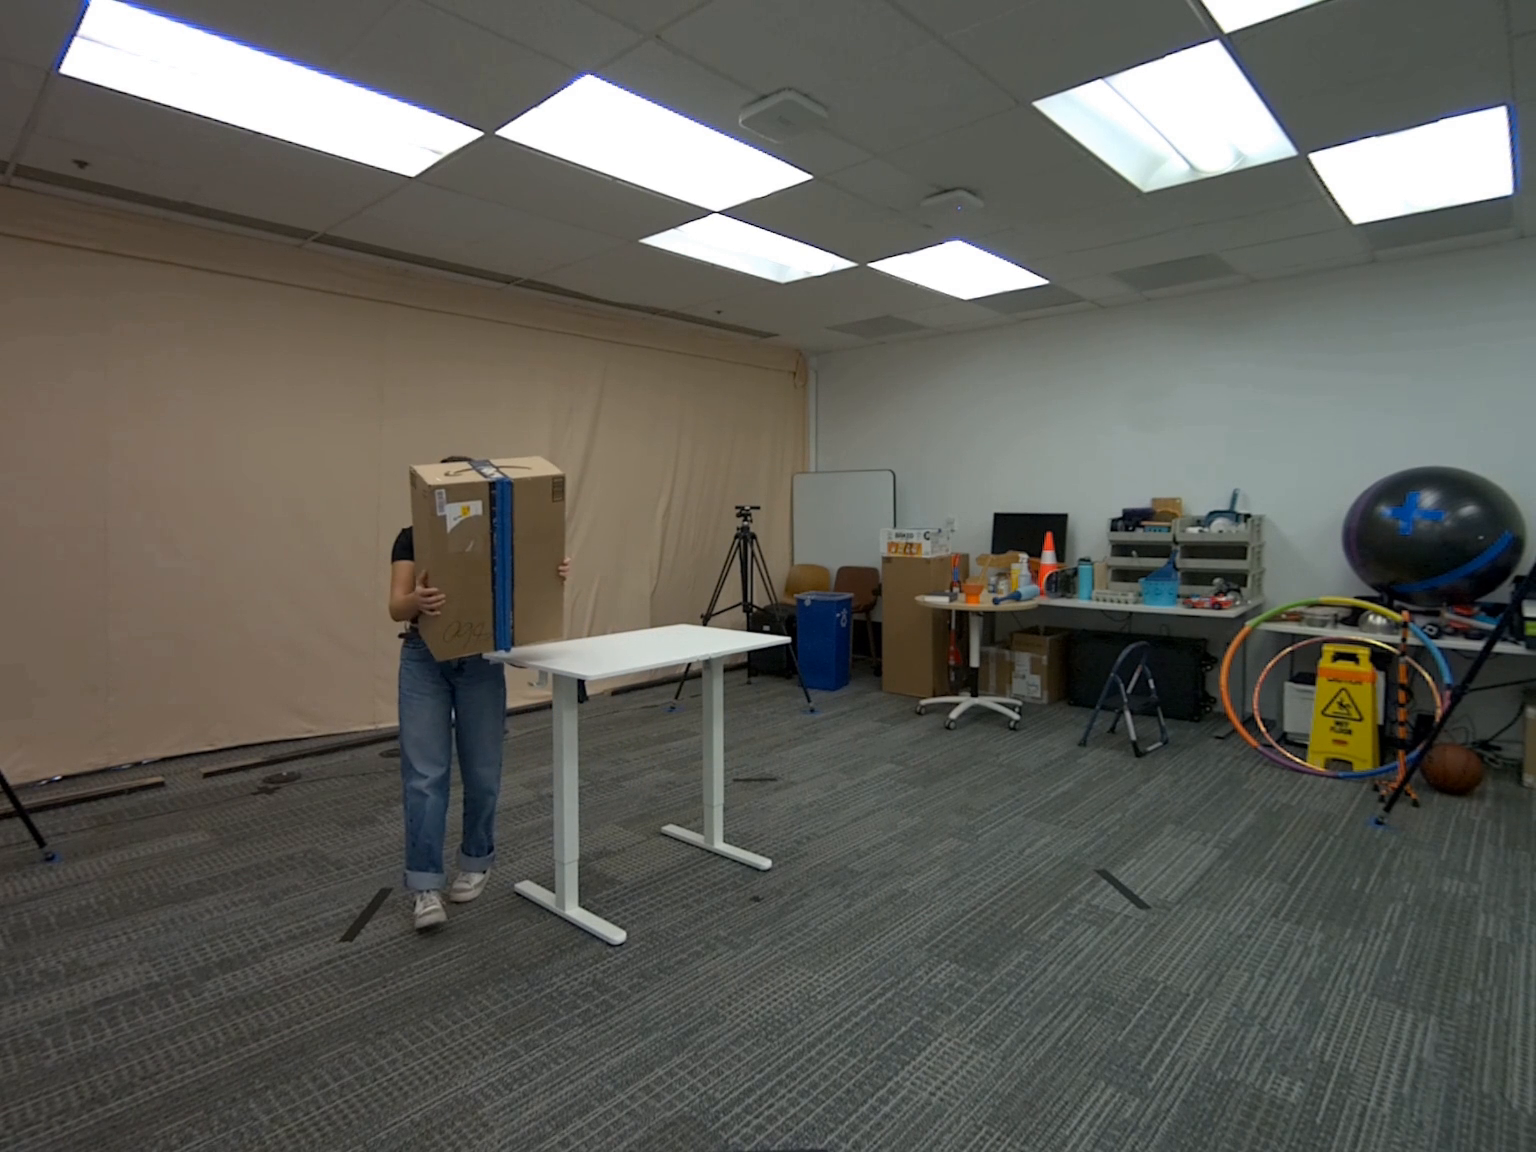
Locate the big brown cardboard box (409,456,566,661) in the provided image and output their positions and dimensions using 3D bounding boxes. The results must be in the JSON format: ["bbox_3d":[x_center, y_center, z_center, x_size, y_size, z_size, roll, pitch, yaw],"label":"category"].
[{"bbox_3d":[-0.874,-0.068,2.638,0.407,0.583,0.242,-9,27,-34],"label":"big brown cardboard box"}]
